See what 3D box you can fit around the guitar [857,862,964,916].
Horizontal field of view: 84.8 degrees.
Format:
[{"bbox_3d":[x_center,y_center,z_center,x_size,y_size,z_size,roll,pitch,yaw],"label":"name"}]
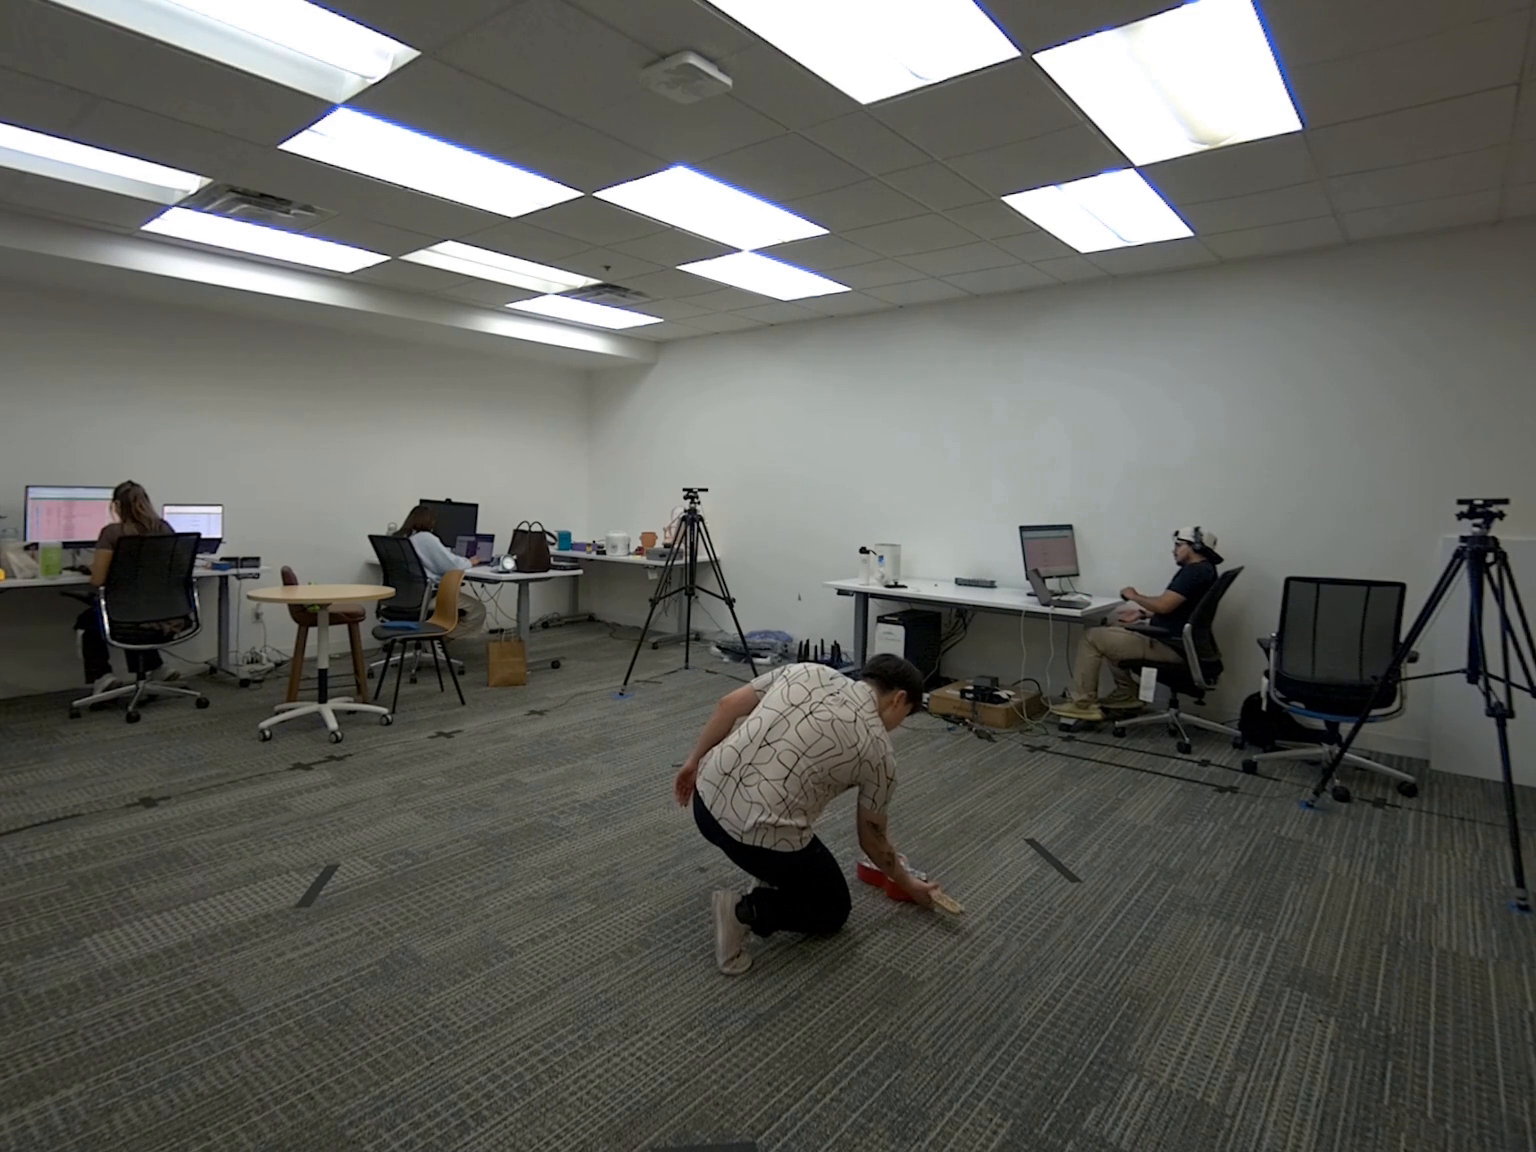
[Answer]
[{"bbox_3d":[0.468,1.067,2.907,0.190,0.070,0.507,-1,4,-17],"label":"guitar"}]
